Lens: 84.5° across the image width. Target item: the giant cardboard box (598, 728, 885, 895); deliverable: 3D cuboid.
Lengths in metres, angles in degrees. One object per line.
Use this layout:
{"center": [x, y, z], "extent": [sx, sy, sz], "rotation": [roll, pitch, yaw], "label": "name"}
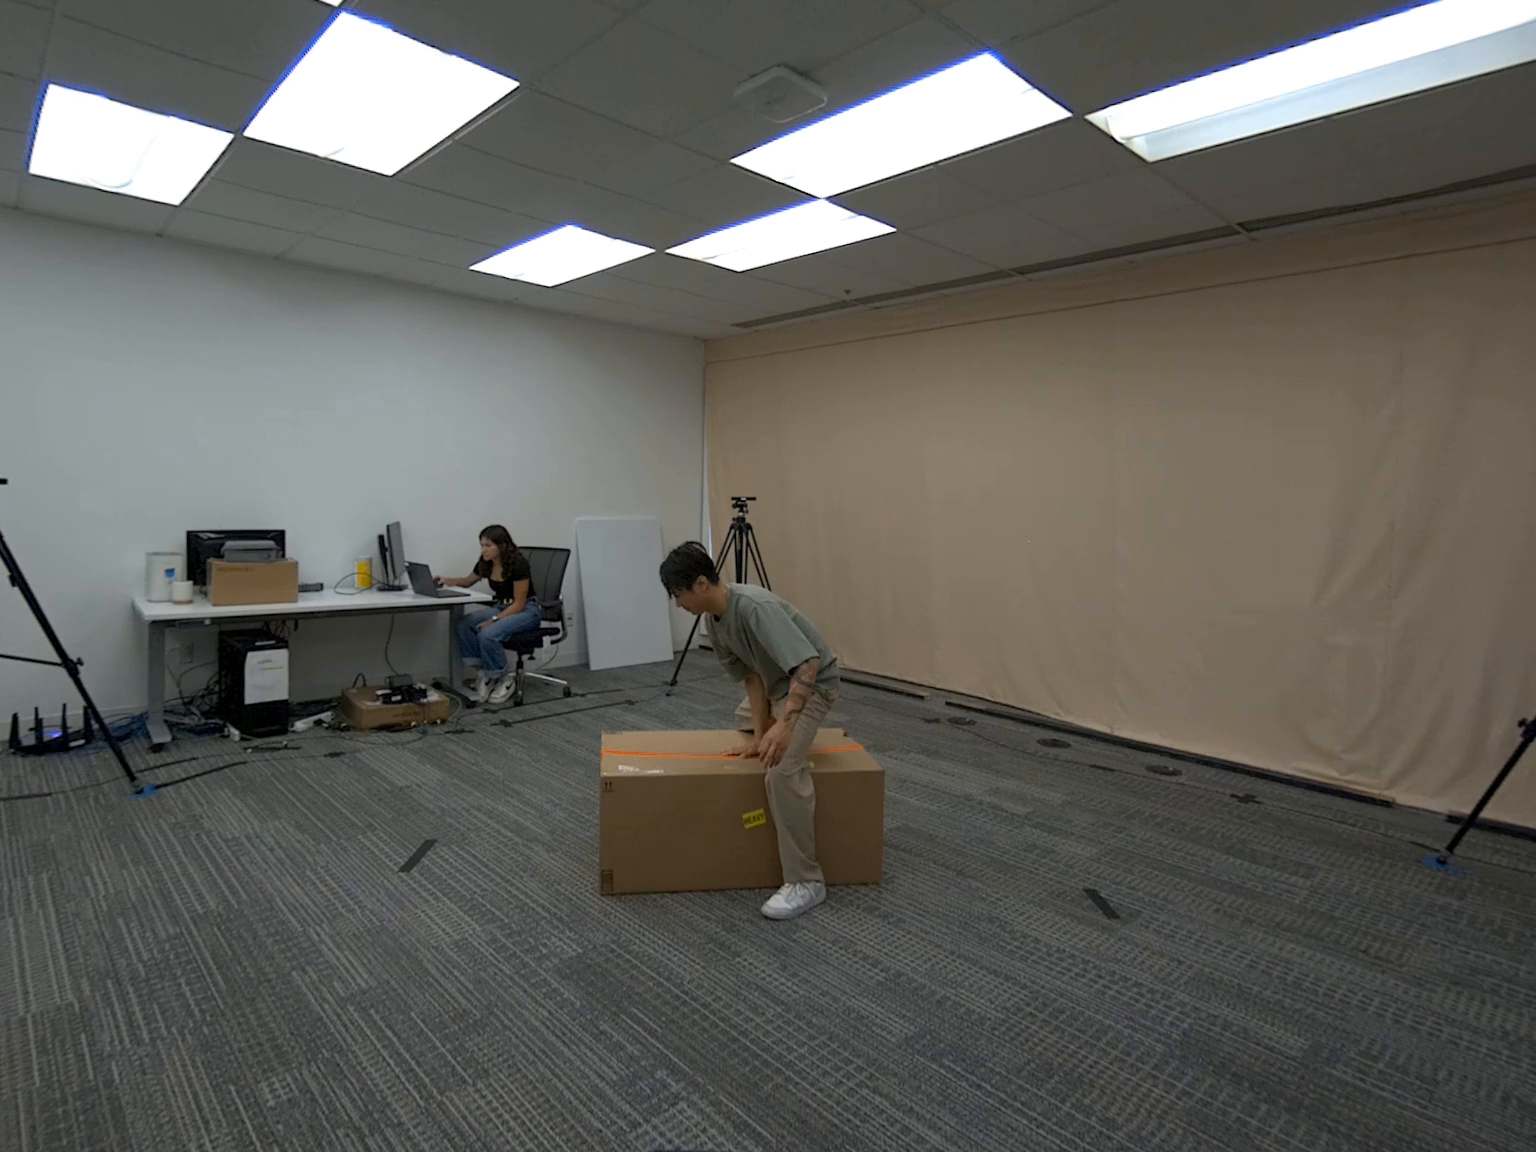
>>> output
{"center": [-0.144, 0.882, 3.267], "extent": [1.019, 0.425, 0.583], "rotation": [1, 5, -9], "label": "giant cardboard box"}
